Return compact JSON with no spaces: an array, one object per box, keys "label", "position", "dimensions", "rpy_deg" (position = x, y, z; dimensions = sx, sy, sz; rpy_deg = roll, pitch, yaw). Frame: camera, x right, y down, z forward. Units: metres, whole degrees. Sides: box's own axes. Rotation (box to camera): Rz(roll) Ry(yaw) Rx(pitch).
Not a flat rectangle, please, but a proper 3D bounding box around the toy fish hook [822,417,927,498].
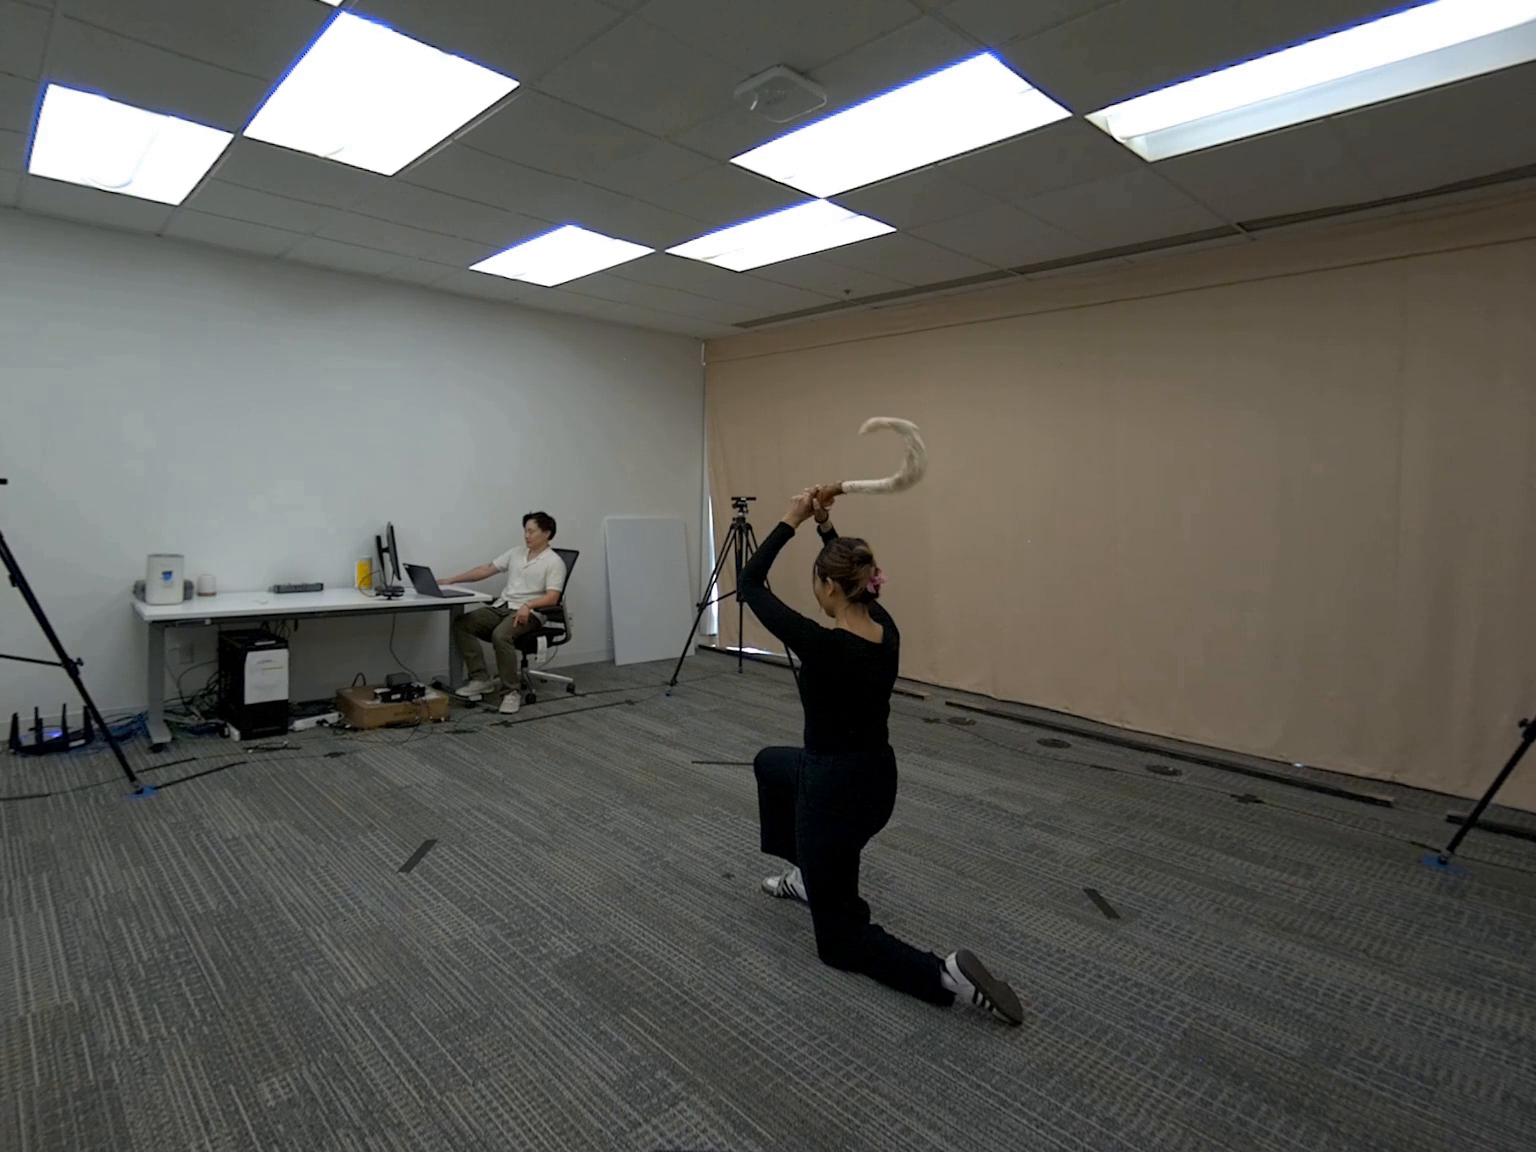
[{"label":"toy fish hook","position":[0.239,-0.326,2.541],"dimensions":[0.047,0.225,0.514],"rpy_deg":[-10,-5,-45]}]
